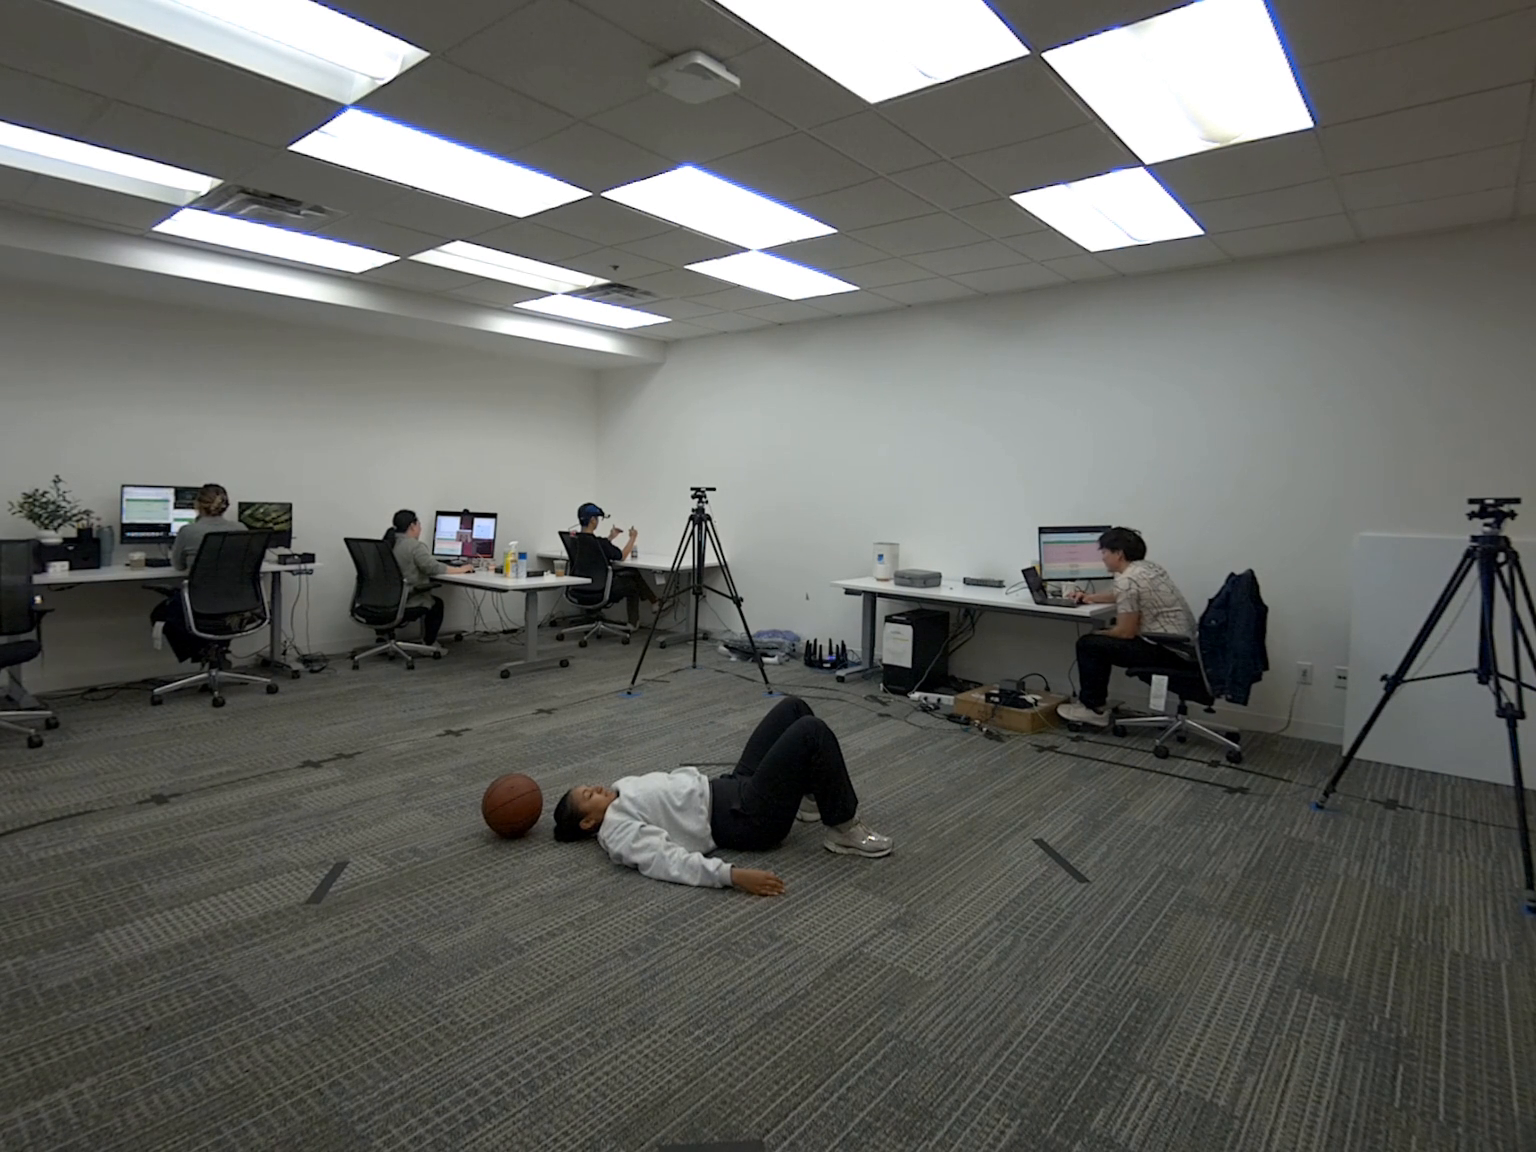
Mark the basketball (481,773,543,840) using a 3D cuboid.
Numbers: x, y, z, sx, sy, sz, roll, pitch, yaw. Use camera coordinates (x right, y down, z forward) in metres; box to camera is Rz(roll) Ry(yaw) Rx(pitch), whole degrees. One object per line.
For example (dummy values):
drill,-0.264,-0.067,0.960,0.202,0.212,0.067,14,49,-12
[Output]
basketball,-1.034,0.913,3.386,0.235,0.235,0.237,1,4,-2
